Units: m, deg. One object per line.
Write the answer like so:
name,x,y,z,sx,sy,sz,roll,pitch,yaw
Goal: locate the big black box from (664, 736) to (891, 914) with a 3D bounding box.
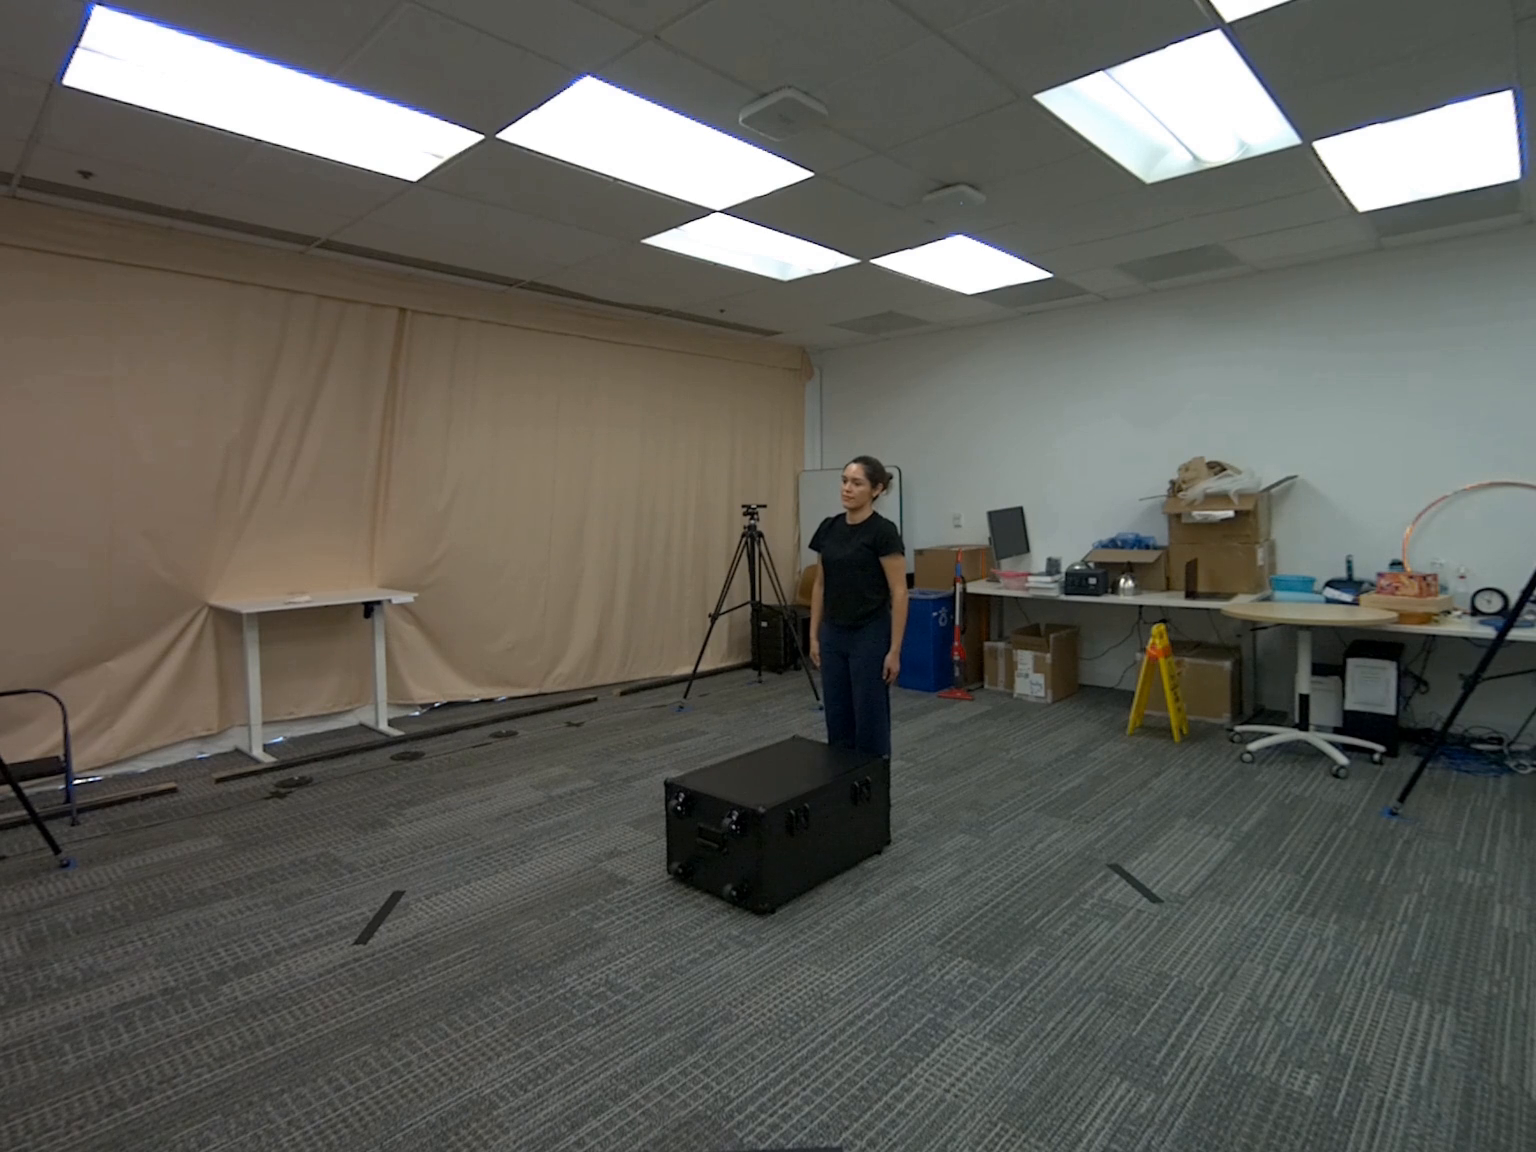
big black box,0.045,0.912,3.221,0.538,0.395,0.836,3,7,42
